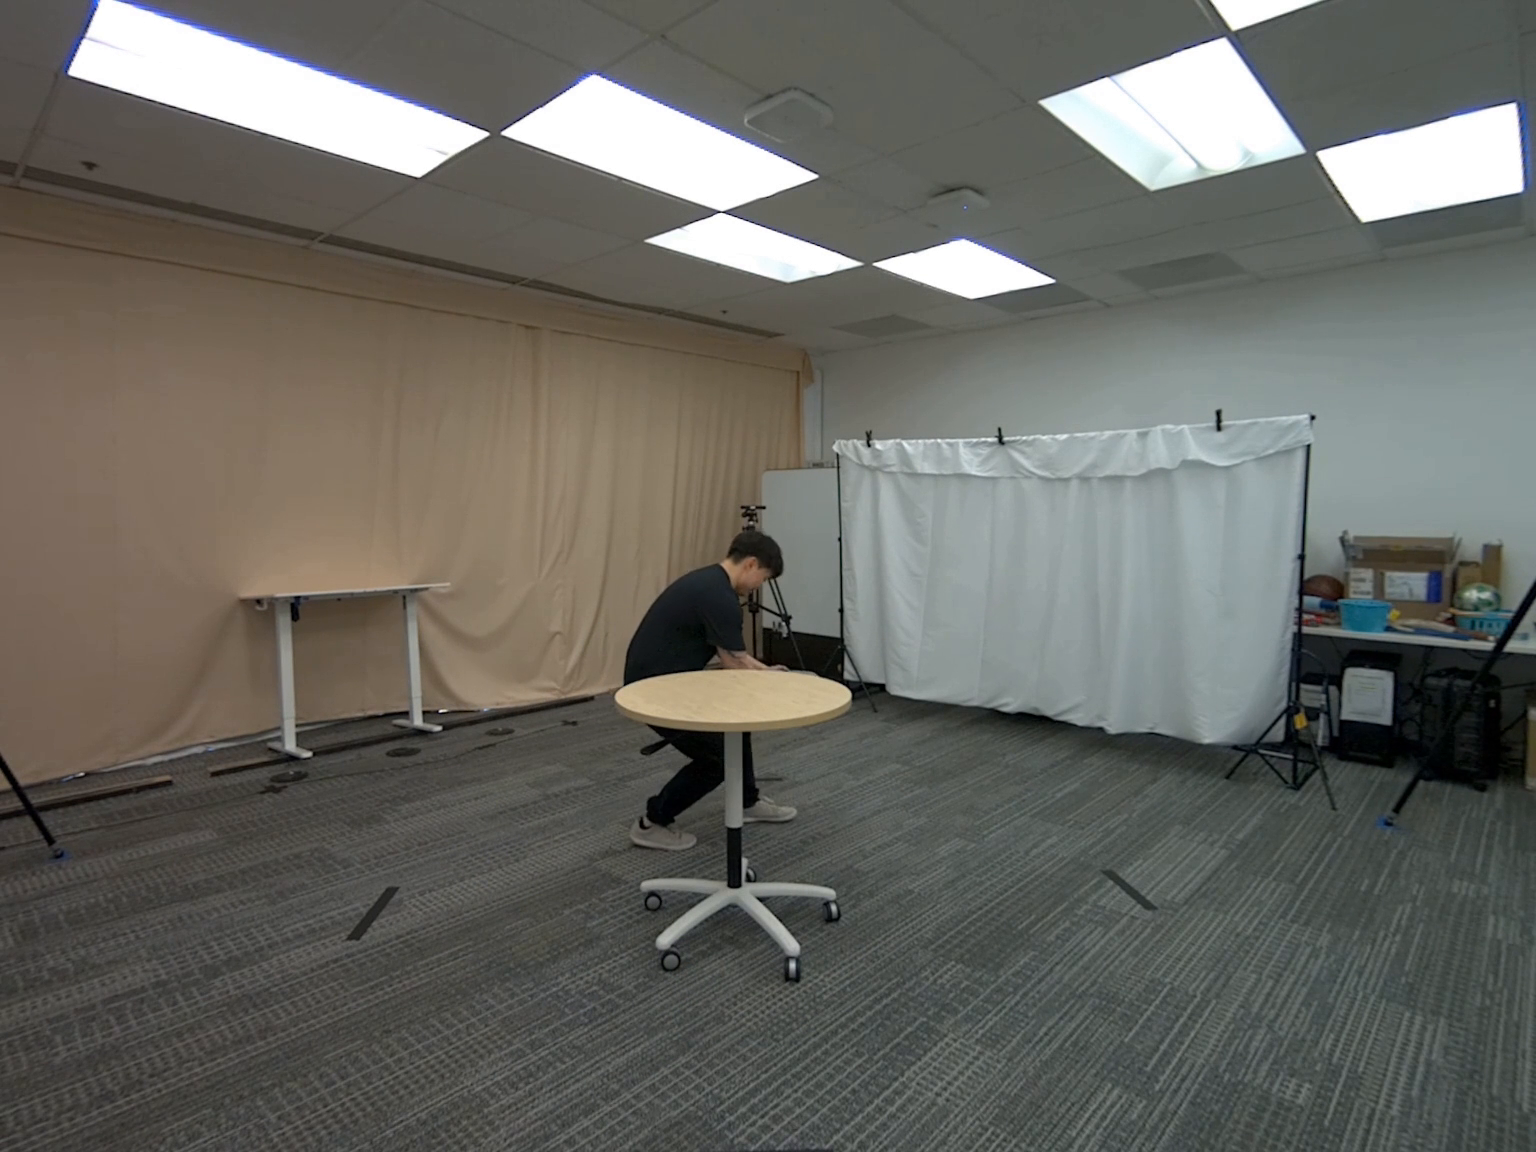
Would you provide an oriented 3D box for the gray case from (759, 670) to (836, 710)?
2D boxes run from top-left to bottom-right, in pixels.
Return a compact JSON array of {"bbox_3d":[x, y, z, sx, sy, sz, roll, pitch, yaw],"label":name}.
[{"bbox_3d":[0.116,0.479,3.589,0.258,0.104,0.260,2,4,-10],"label":"gray case"}]
